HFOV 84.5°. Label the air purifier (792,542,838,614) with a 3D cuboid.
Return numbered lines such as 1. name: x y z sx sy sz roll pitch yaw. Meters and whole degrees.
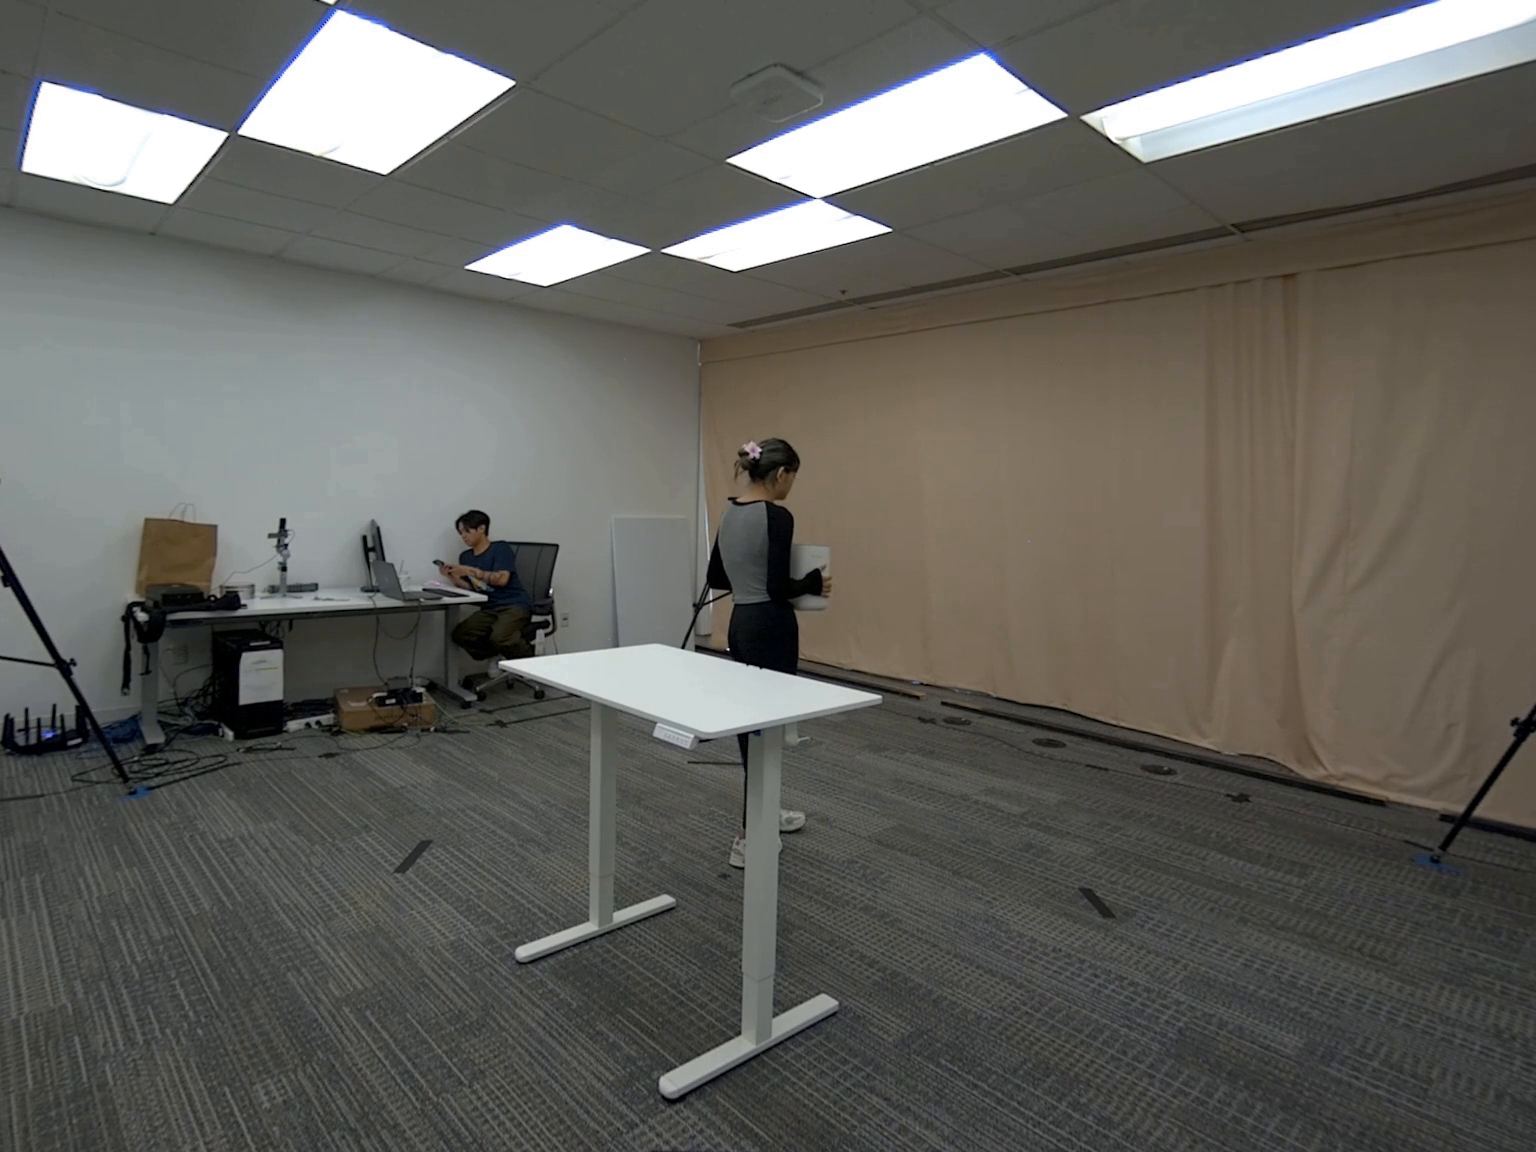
1. air purifier: 0.150 0.003 3.392 0.167 0.265 0.175 1 3 -29
